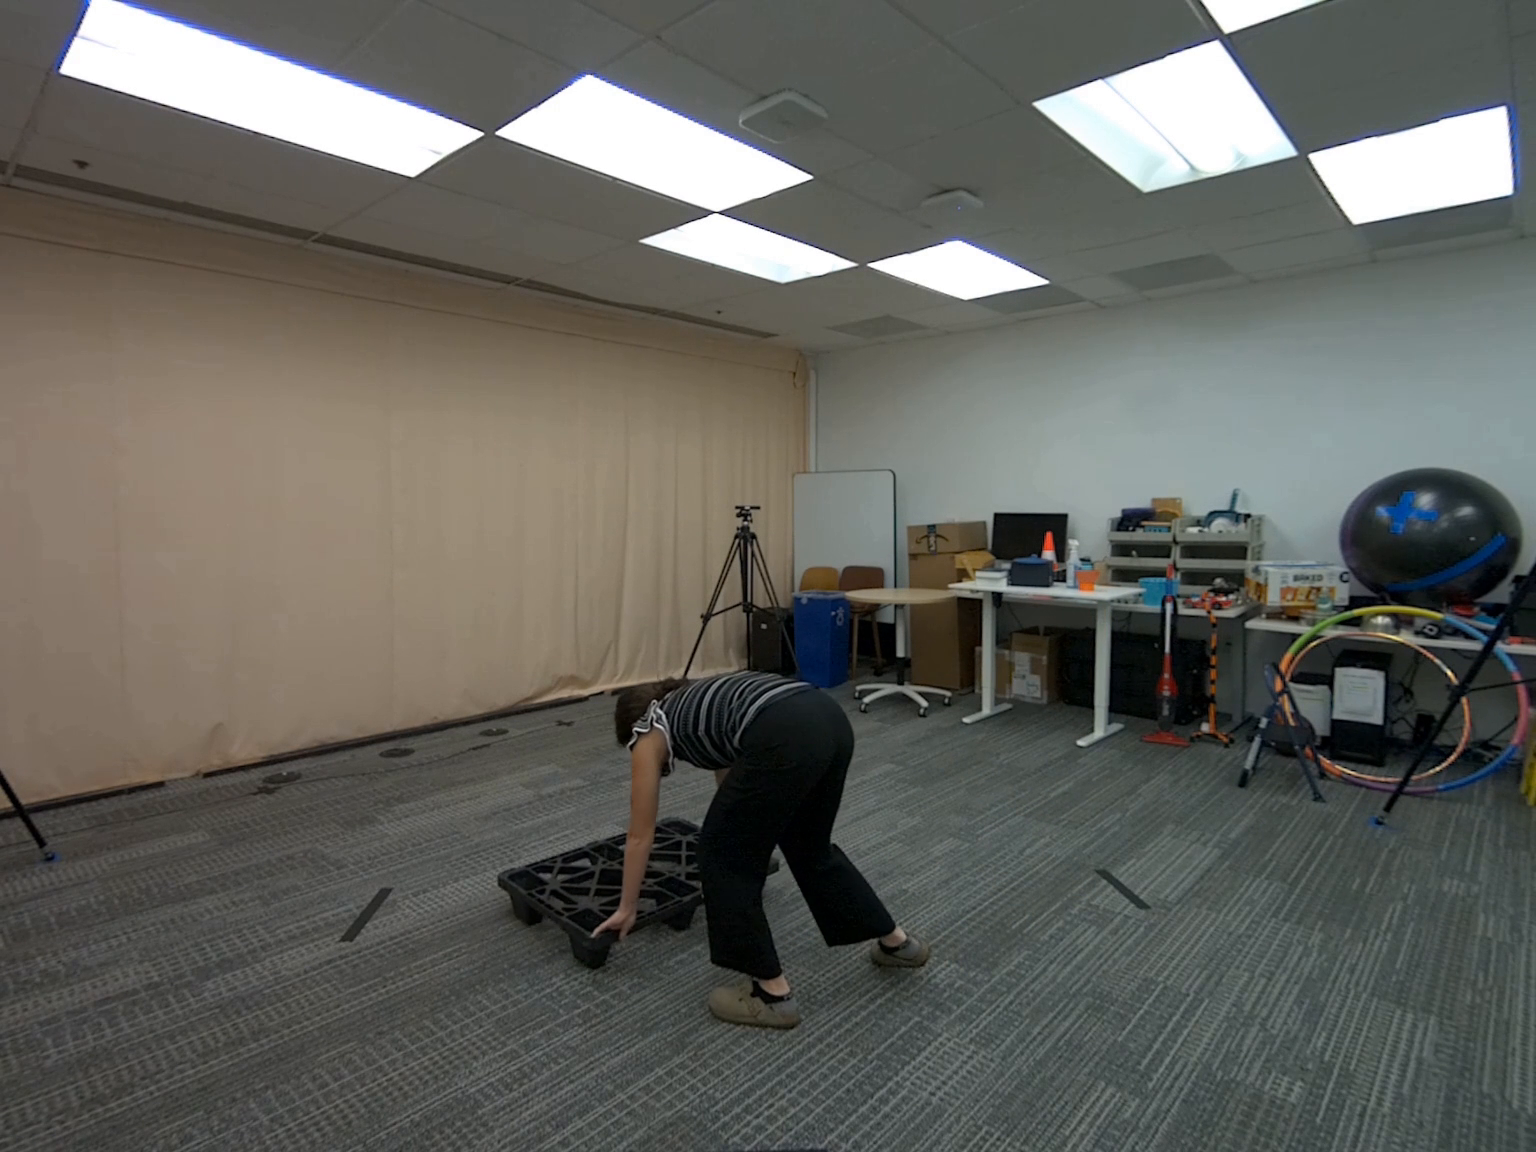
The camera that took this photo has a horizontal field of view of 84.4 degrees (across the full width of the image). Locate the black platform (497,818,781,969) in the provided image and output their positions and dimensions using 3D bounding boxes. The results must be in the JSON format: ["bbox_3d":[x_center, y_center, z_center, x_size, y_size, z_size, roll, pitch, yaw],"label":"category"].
[{"bbox_3d":[-0.446,1.083,2.947,0.781,0.143,0.625,-5,6,-44],"label":"black platform"}]
